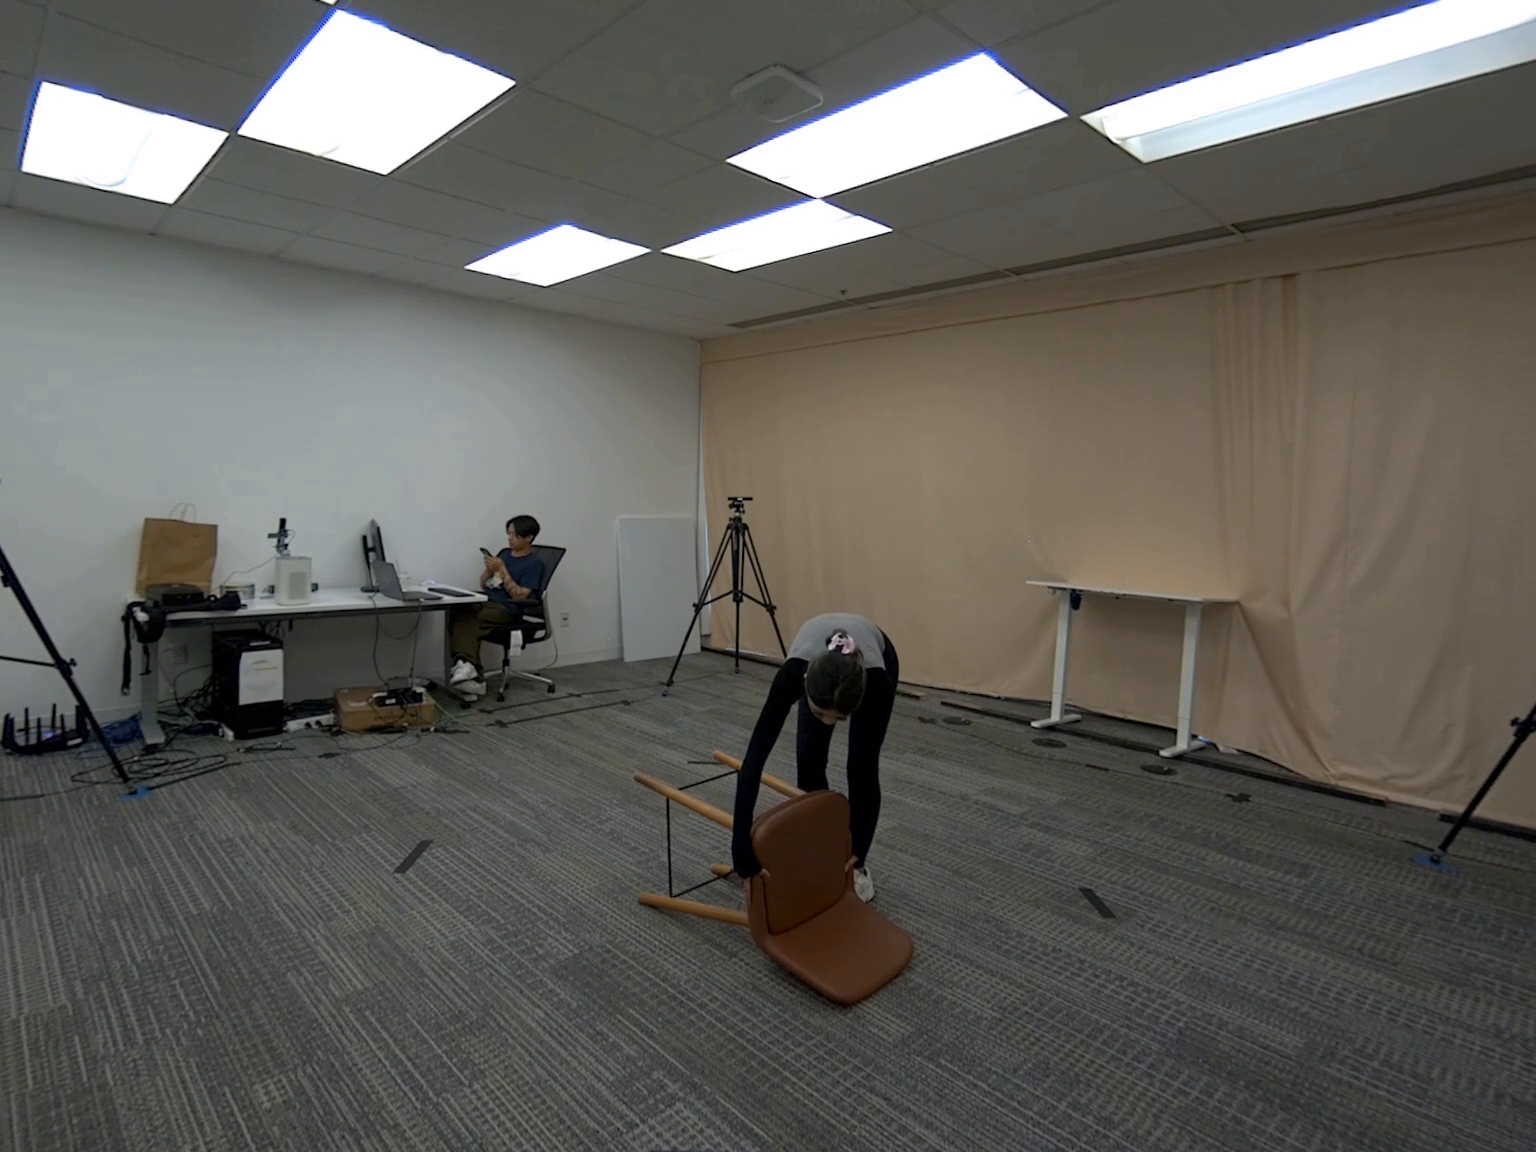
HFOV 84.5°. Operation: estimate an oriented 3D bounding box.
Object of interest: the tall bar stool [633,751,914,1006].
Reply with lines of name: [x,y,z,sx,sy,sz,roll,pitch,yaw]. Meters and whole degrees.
tall bar stool: [-0.006,0.918,2.700,0.913,0.466,0.446,6,6,44]
